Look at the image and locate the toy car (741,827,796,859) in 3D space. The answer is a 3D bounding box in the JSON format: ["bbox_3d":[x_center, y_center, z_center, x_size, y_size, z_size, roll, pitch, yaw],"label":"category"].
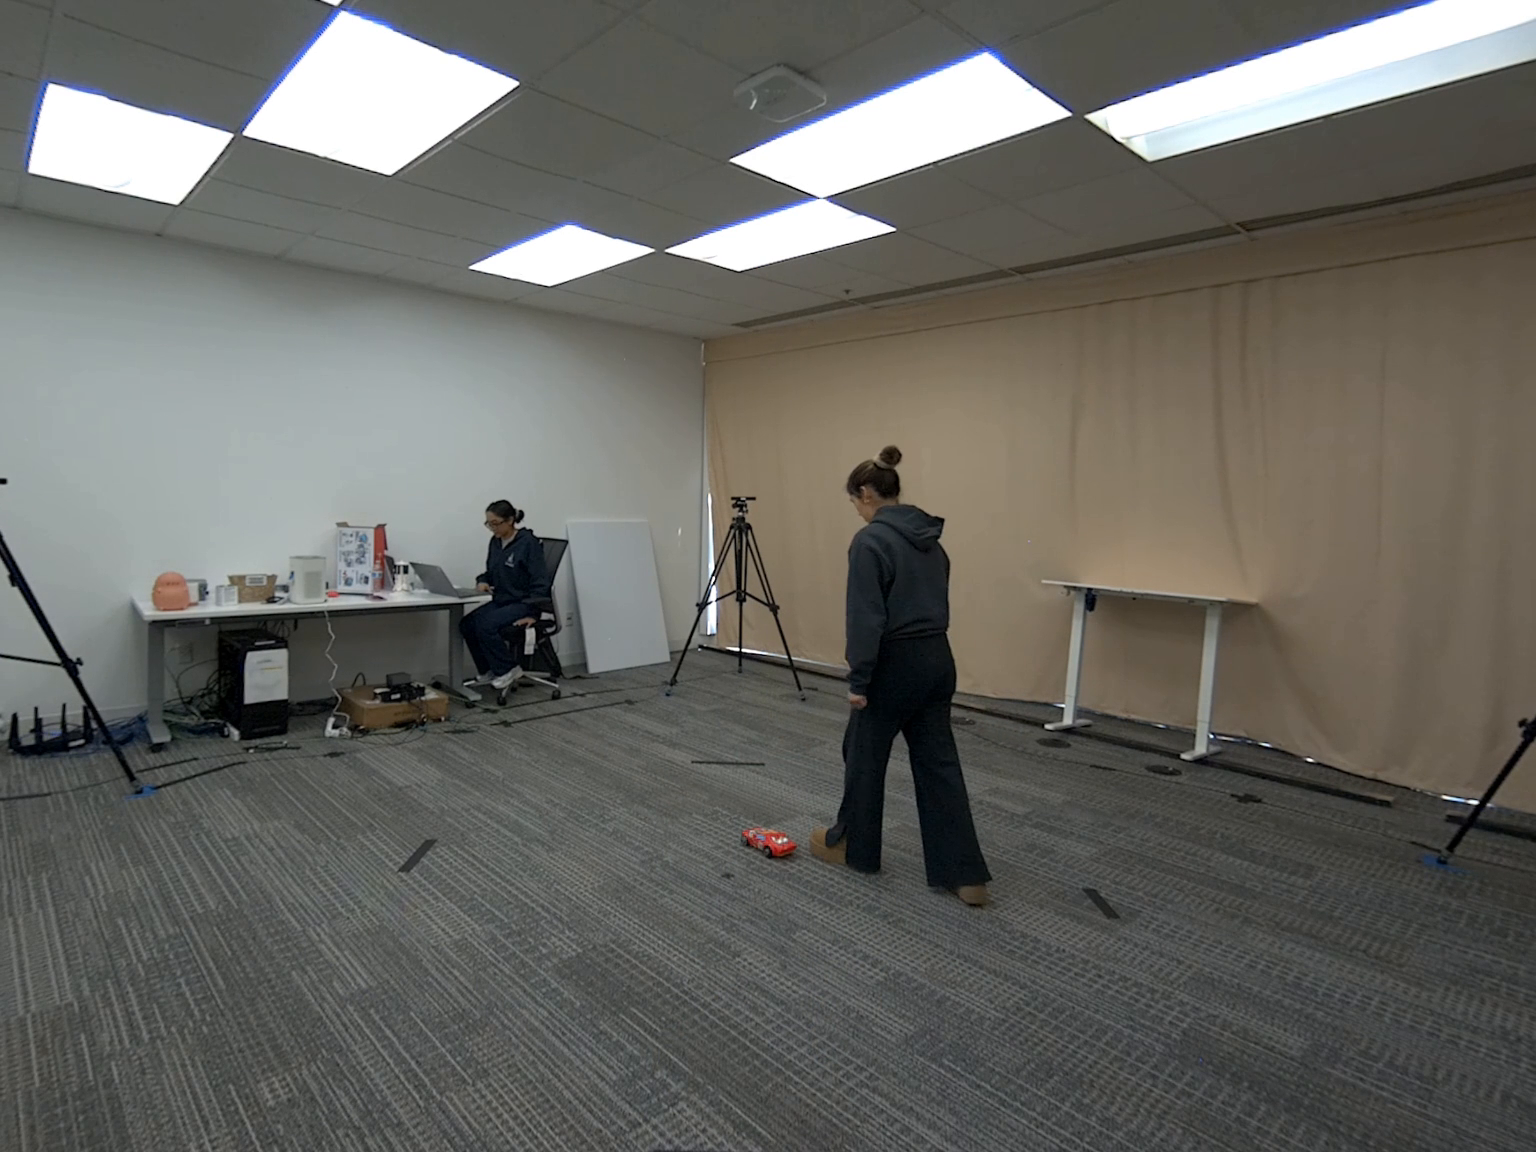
[{"bbox_3d":[-0.003,1.059,3.356,0.127,0.083,0.259,-2,-5,-39],"label":"toy car"}]
